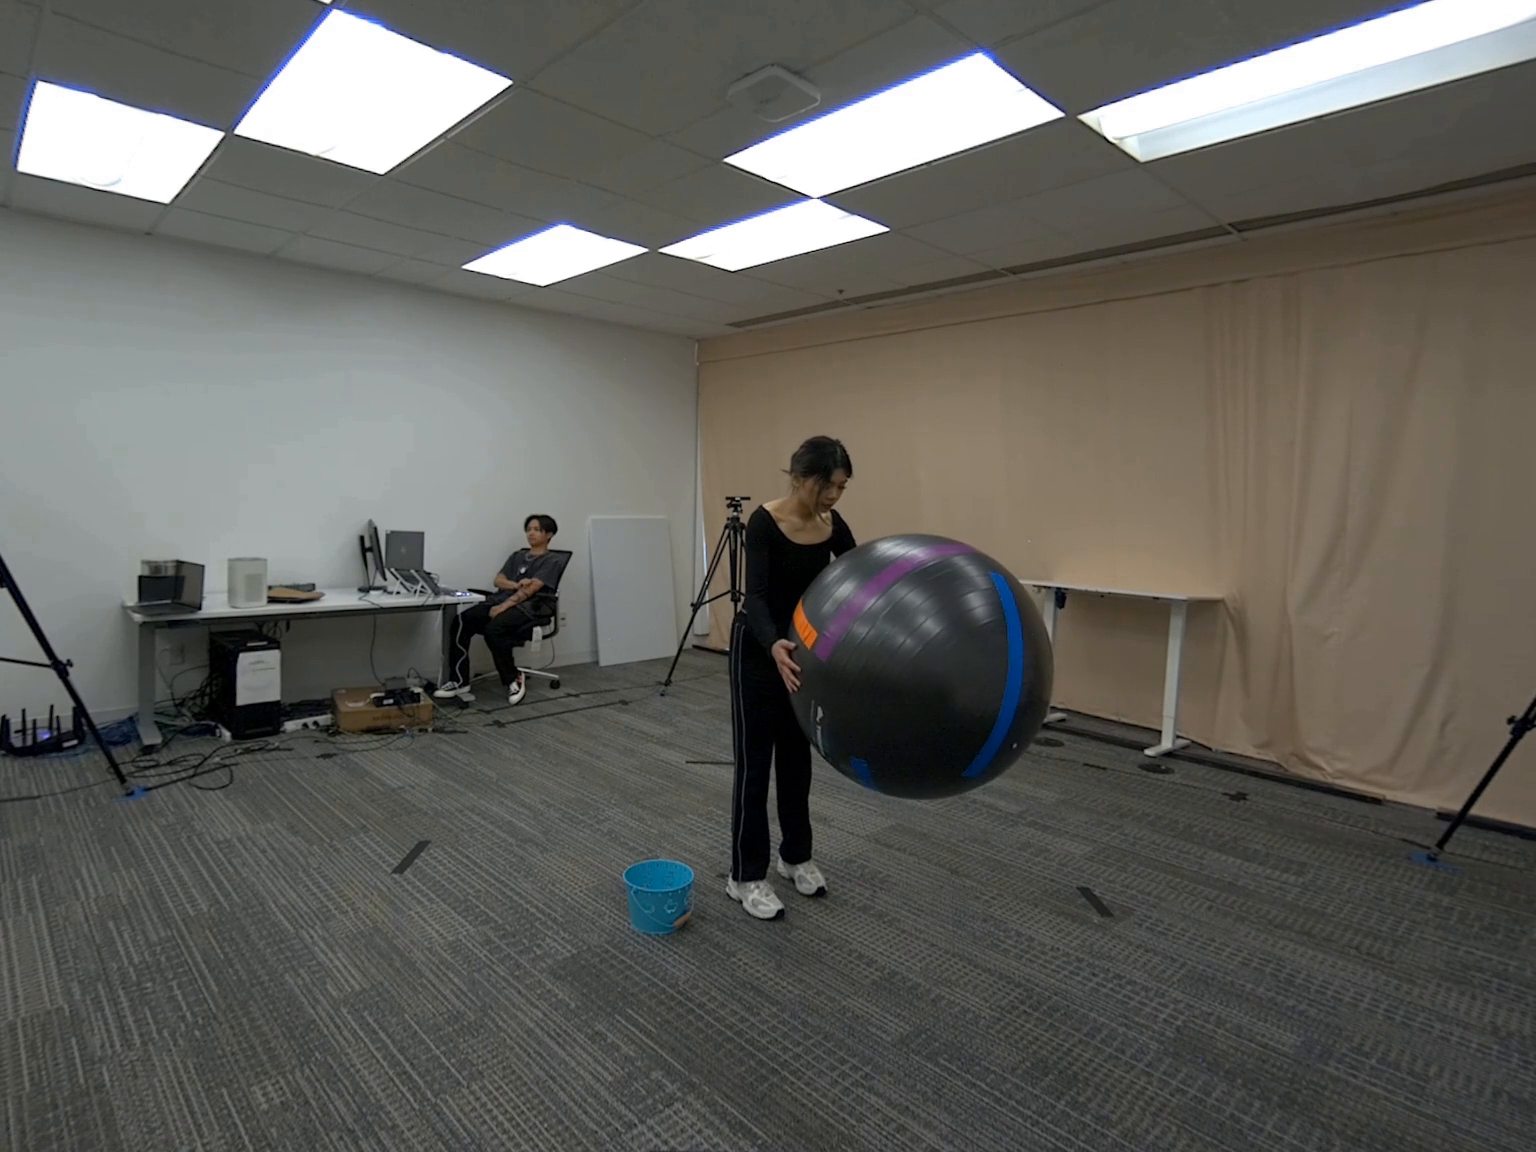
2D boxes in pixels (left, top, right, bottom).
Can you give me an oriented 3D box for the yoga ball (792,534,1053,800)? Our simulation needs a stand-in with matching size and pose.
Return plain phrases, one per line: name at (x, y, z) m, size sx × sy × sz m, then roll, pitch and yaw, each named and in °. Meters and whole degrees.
yoga ball at (0.426, 0.259, 2.425) m, size 0.757 × 0.756 × 0.761 m, roll 1°, pitch 4°, yaw -1°
